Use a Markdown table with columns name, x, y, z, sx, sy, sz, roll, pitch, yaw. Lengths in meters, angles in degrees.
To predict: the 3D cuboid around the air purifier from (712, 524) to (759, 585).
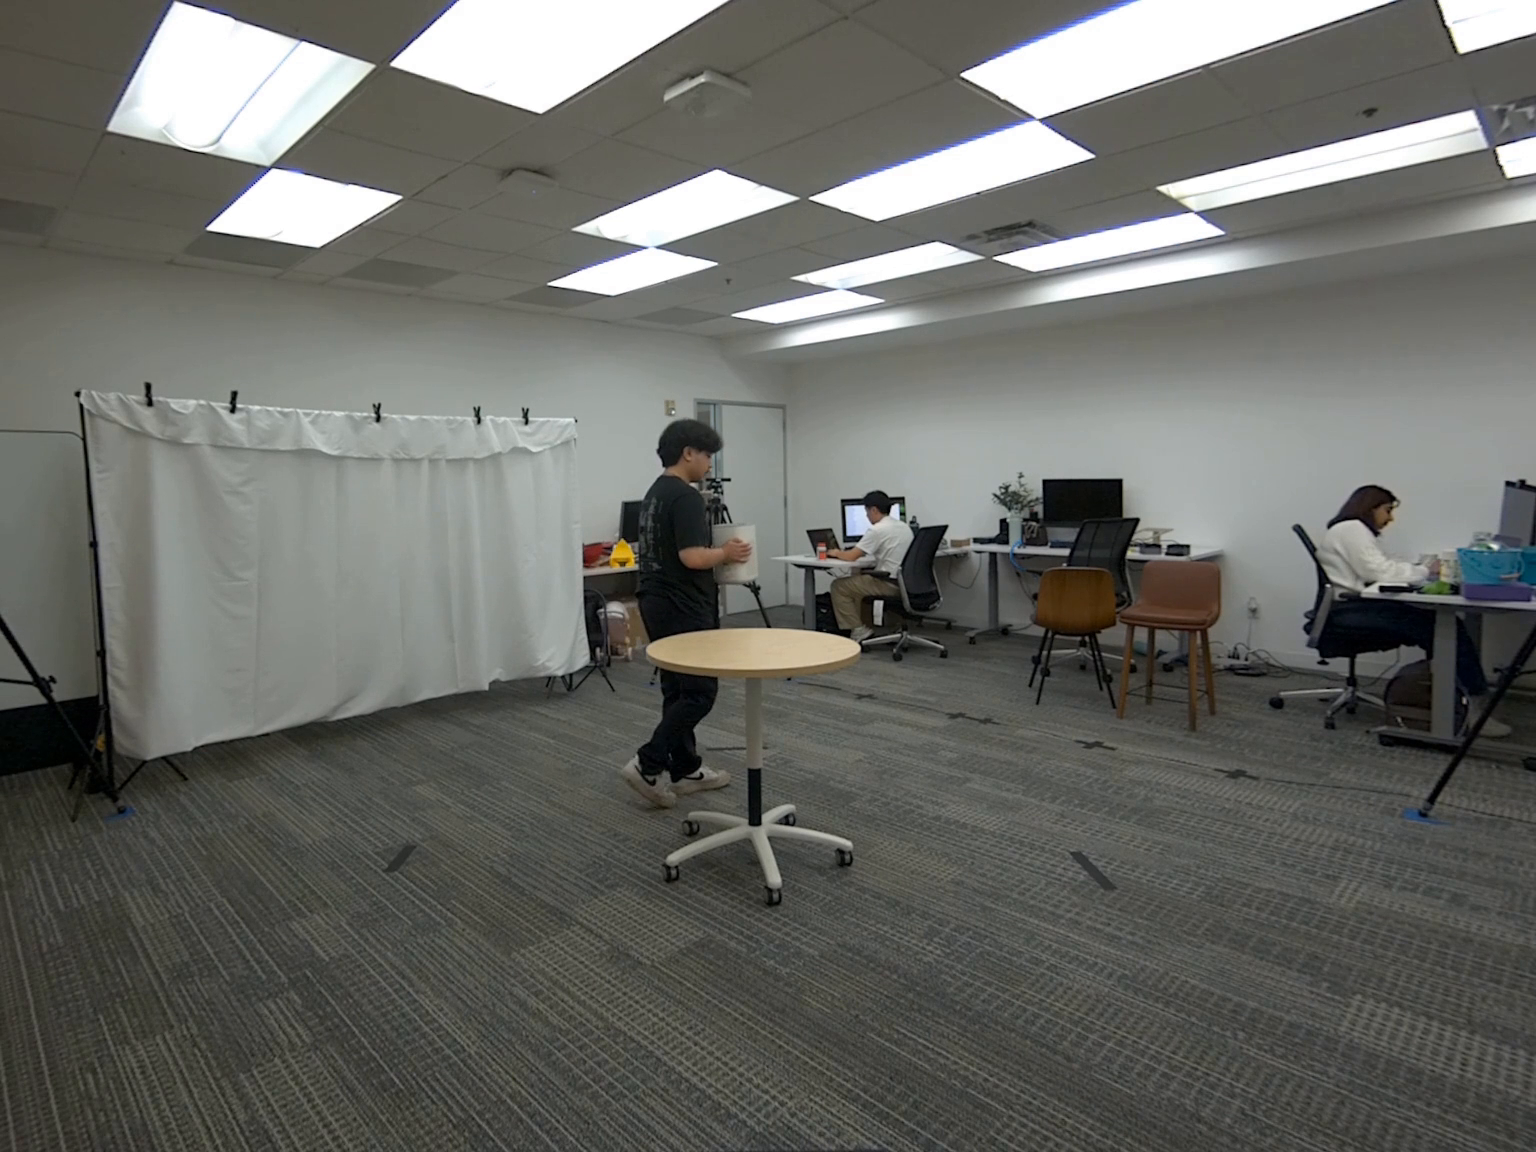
| name | x | y | z | sx | sy | sz | roll | pitch | yaw |
| --- | --- | --- | --- | --- | --- | --- | --- | --- | --- |
| air purifier | -0.157 | -0.097 | 3.838 | 0.175 | 0.265 | 0.168 | -1 | 3 | 30 |
